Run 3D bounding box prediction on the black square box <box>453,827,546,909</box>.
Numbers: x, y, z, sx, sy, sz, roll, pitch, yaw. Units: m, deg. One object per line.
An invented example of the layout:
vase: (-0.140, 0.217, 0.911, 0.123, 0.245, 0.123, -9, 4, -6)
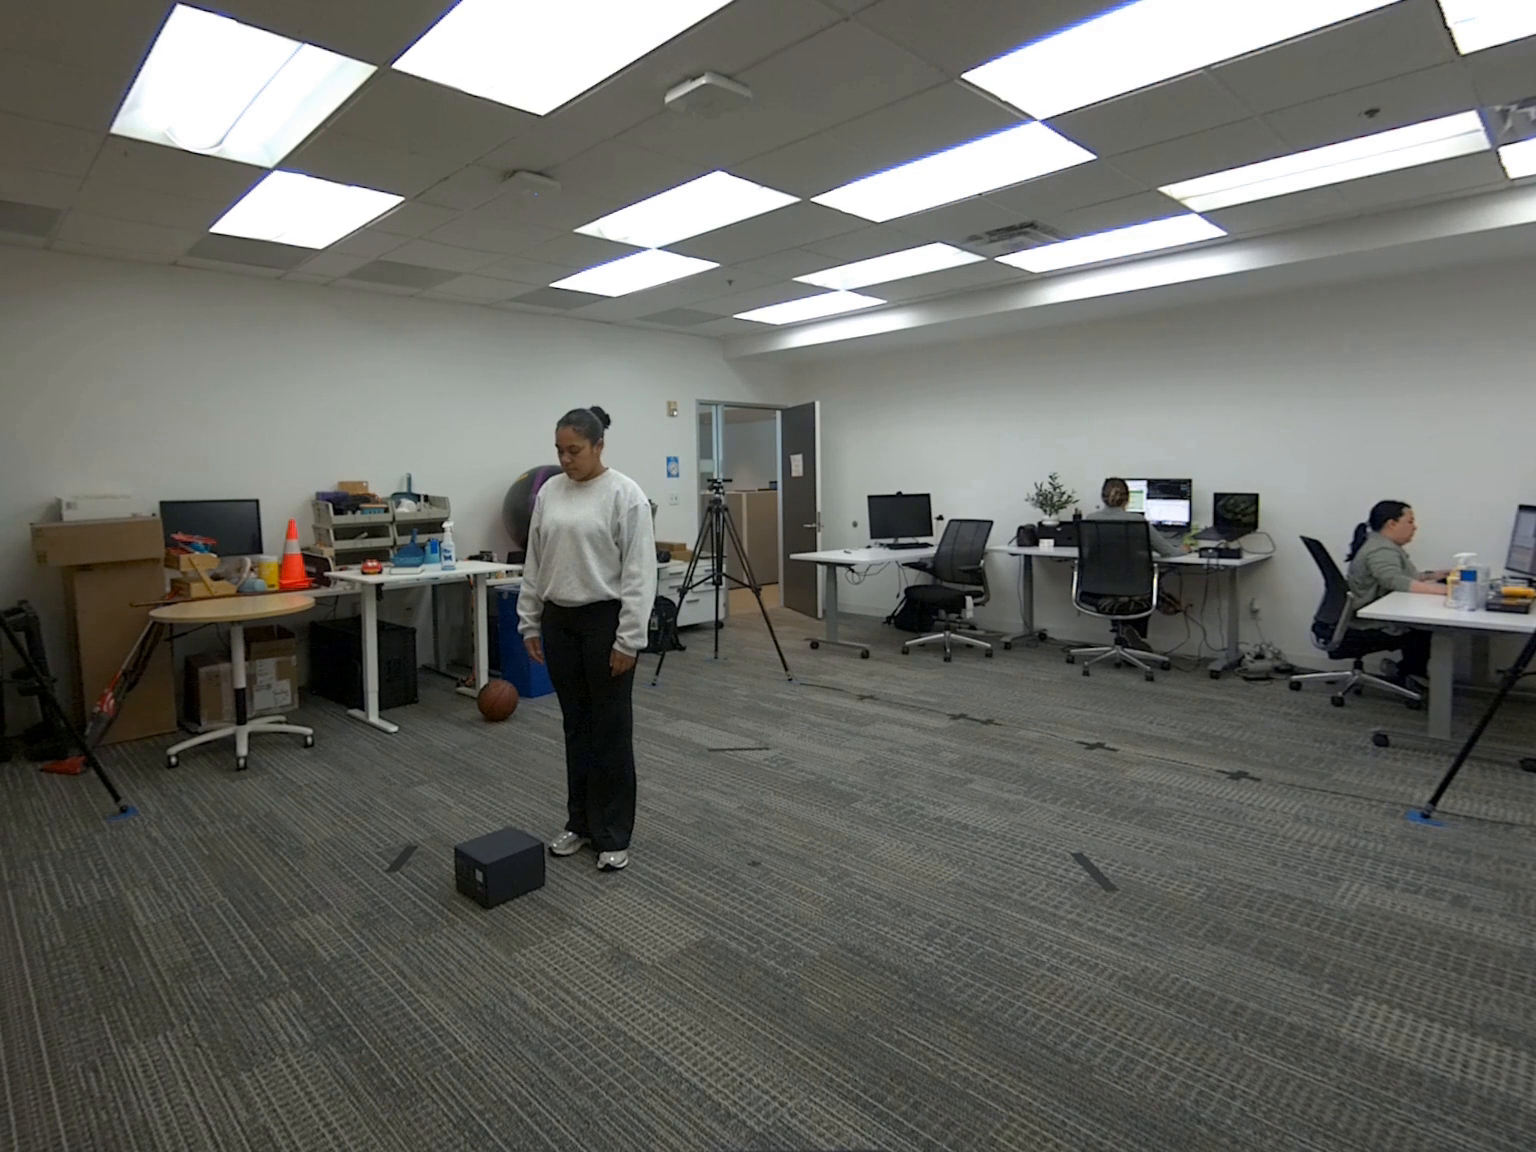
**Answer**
black square box: (-0.920, 0.997, 2.955, 0.223, 0.155, 0.222, 3, 7, 42)
